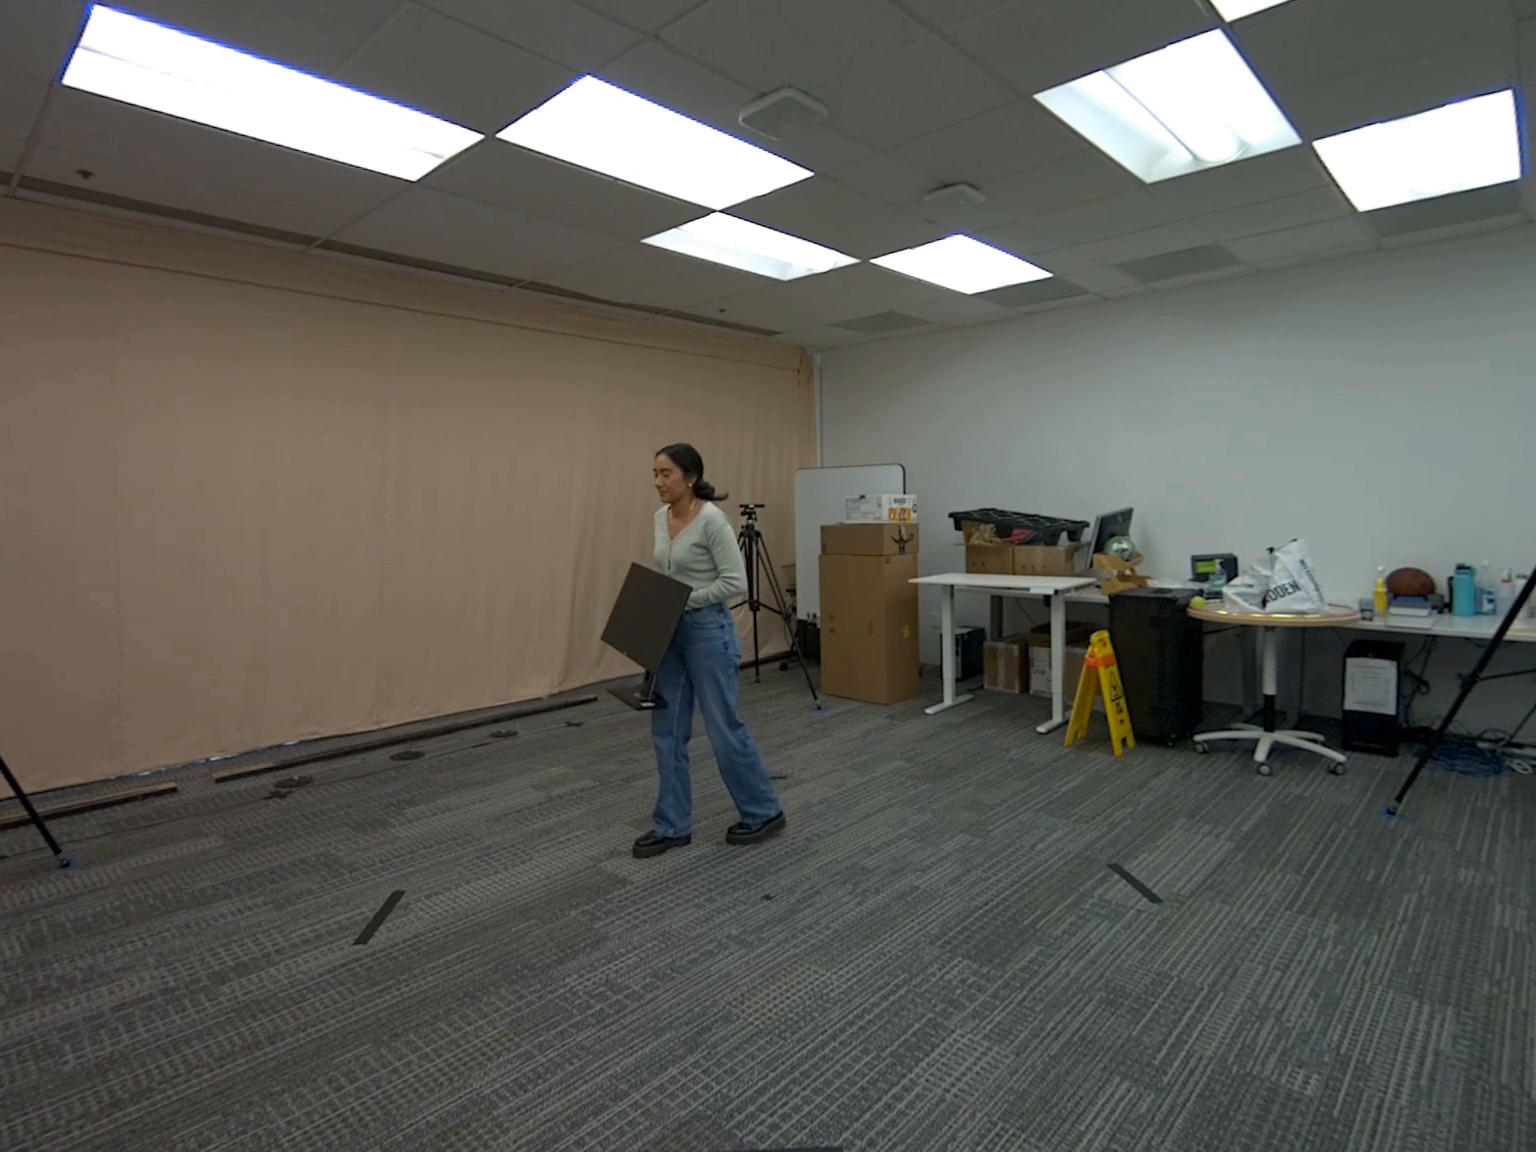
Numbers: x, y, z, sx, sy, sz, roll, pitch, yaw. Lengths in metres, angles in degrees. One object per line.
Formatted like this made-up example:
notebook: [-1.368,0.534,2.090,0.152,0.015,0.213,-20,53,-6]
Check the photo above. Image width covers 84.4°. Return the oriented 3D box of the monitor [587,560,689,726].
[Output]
monitor: [-0.491,0.243,3.347,0.169,0.514,0.549,2,10,-38]
